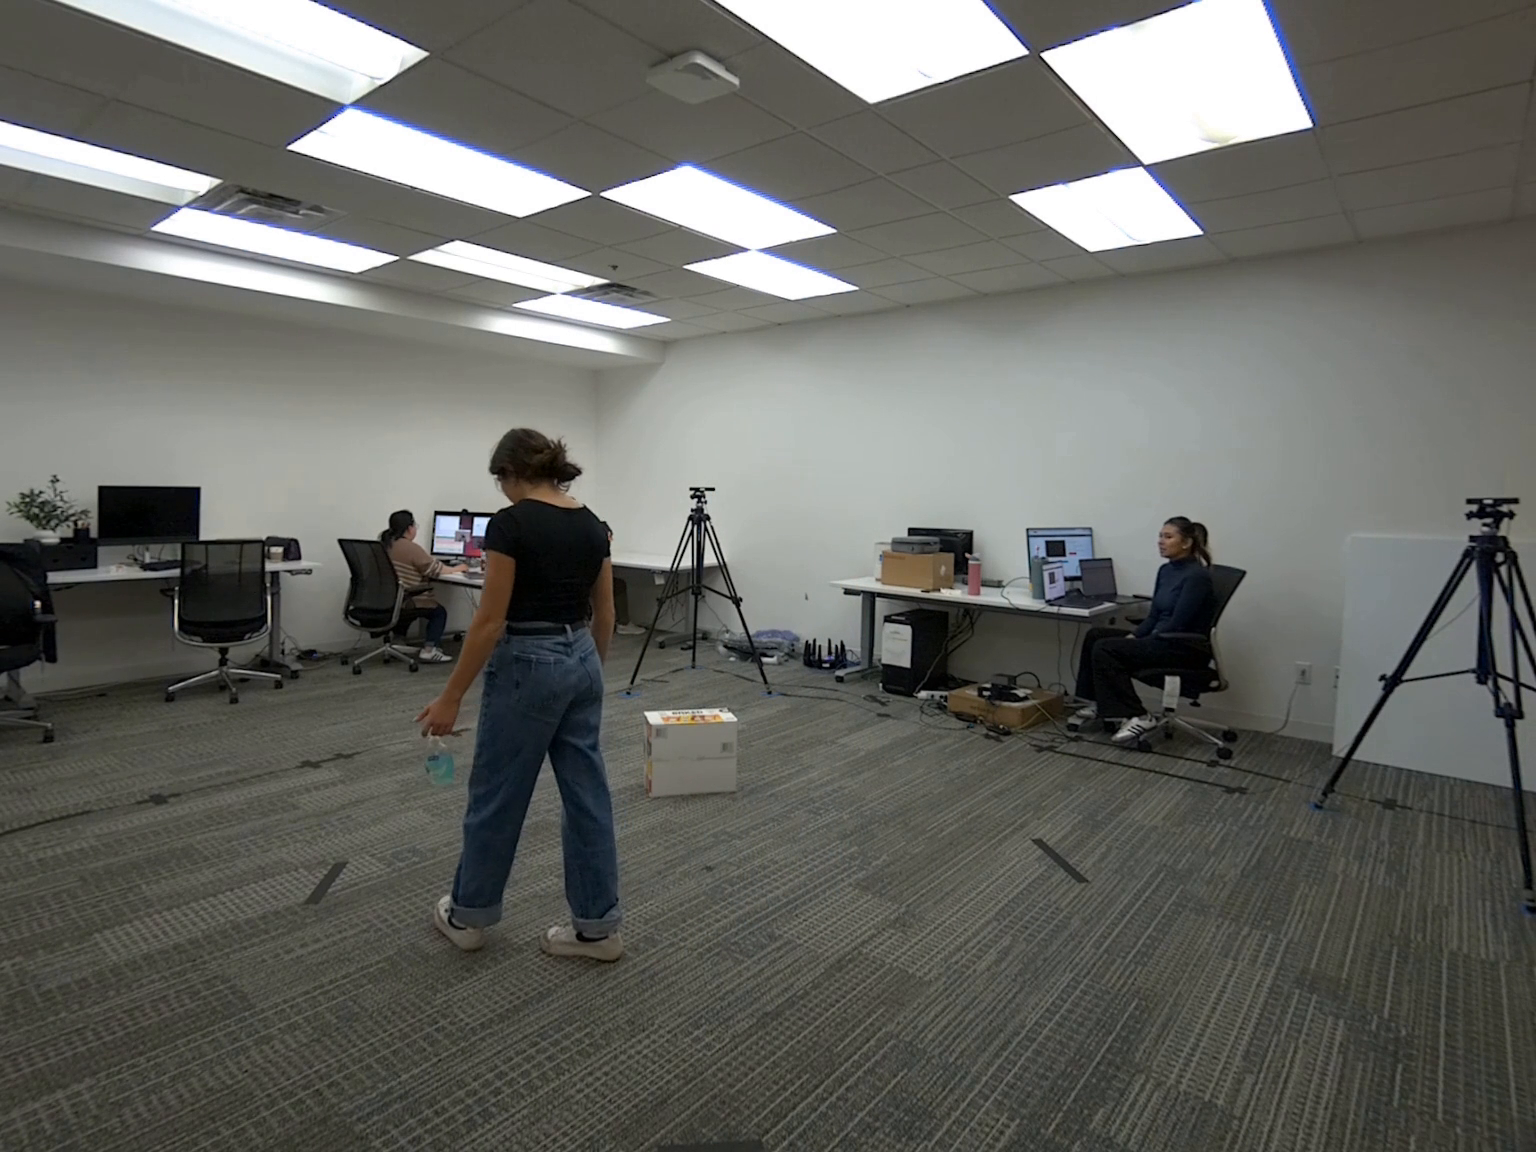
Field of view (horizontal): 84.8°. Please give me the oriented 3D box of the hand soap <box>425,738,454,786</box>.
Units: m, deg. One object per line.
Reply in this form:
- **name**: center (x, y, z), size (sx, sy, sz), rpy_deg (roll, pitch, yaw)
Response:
- **hand soap**: center (-0.940, 0.498, 2.380), size (0.085, 0.167, 0.043), rpy_deg (-9, 6, 7)
